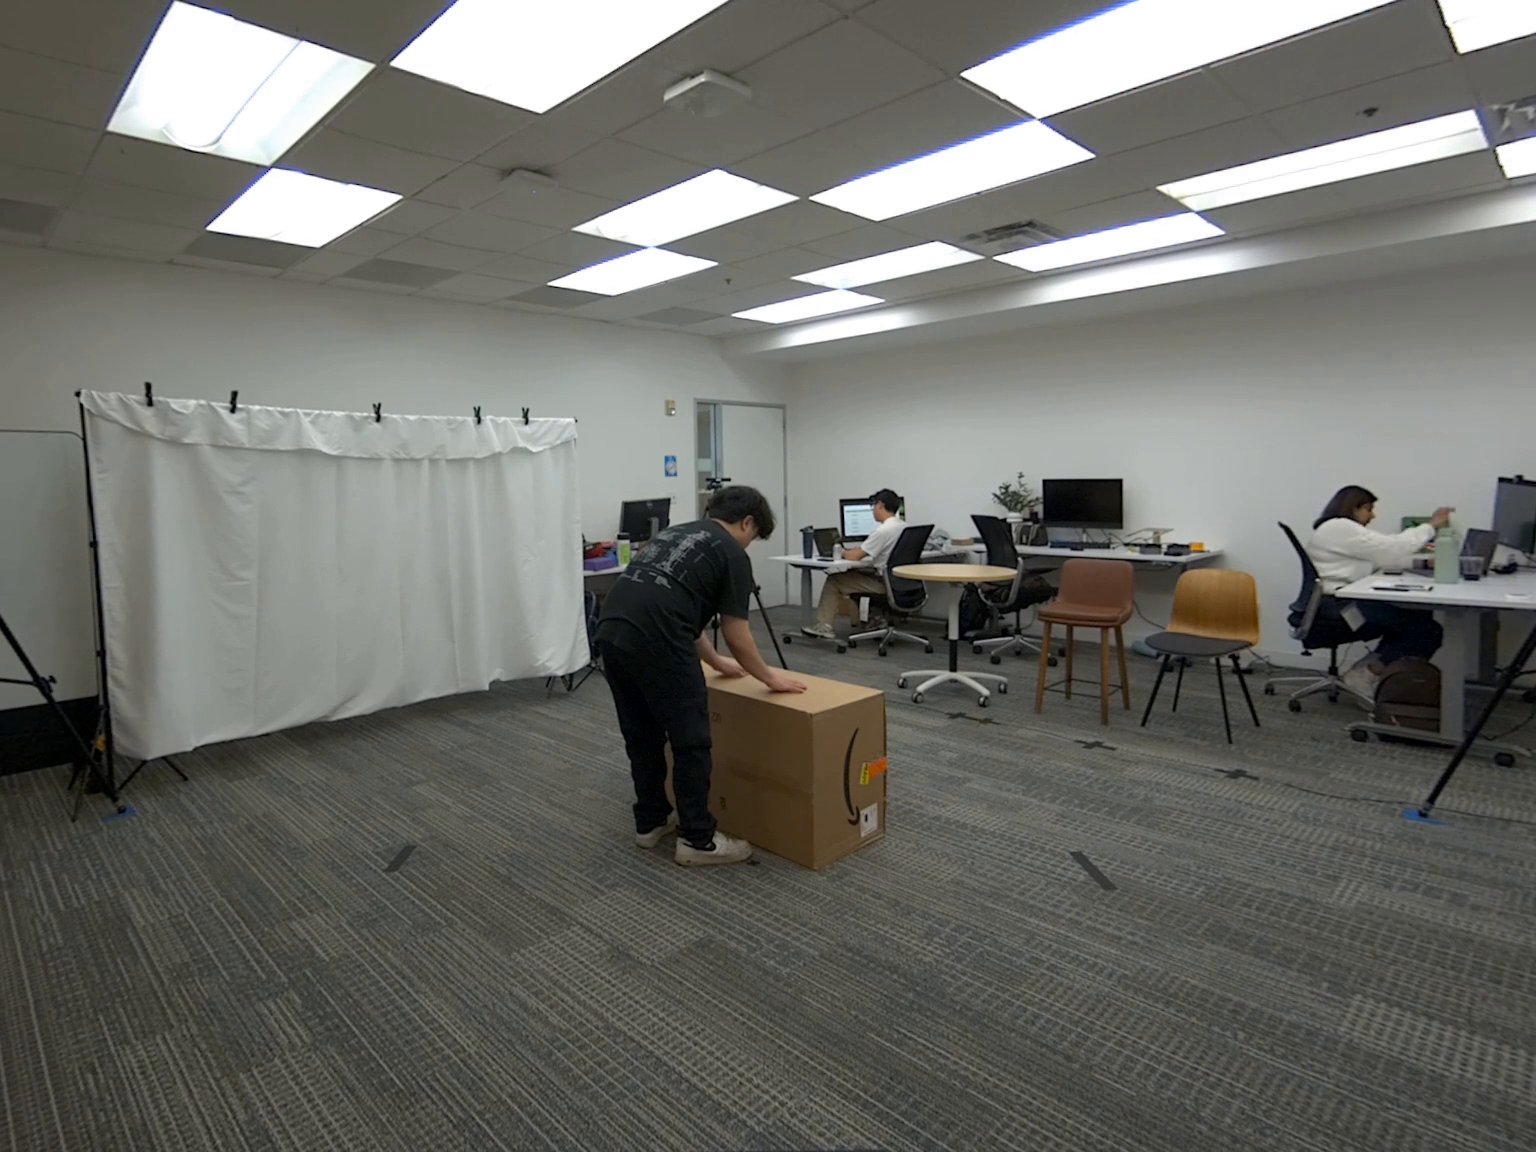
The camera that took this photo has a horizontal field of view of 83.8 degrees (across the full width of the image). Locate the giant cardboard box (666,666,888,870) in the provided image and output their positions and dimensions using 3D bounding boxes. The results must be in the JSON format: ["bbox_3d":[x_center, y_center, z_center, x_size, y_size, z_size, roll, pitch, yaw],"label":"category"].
[{"bbox_3d":[-0.055,0.709,3.531,0.435,0.582,1.059,-4,7,-44],"label":"giant cardboard box"}]
